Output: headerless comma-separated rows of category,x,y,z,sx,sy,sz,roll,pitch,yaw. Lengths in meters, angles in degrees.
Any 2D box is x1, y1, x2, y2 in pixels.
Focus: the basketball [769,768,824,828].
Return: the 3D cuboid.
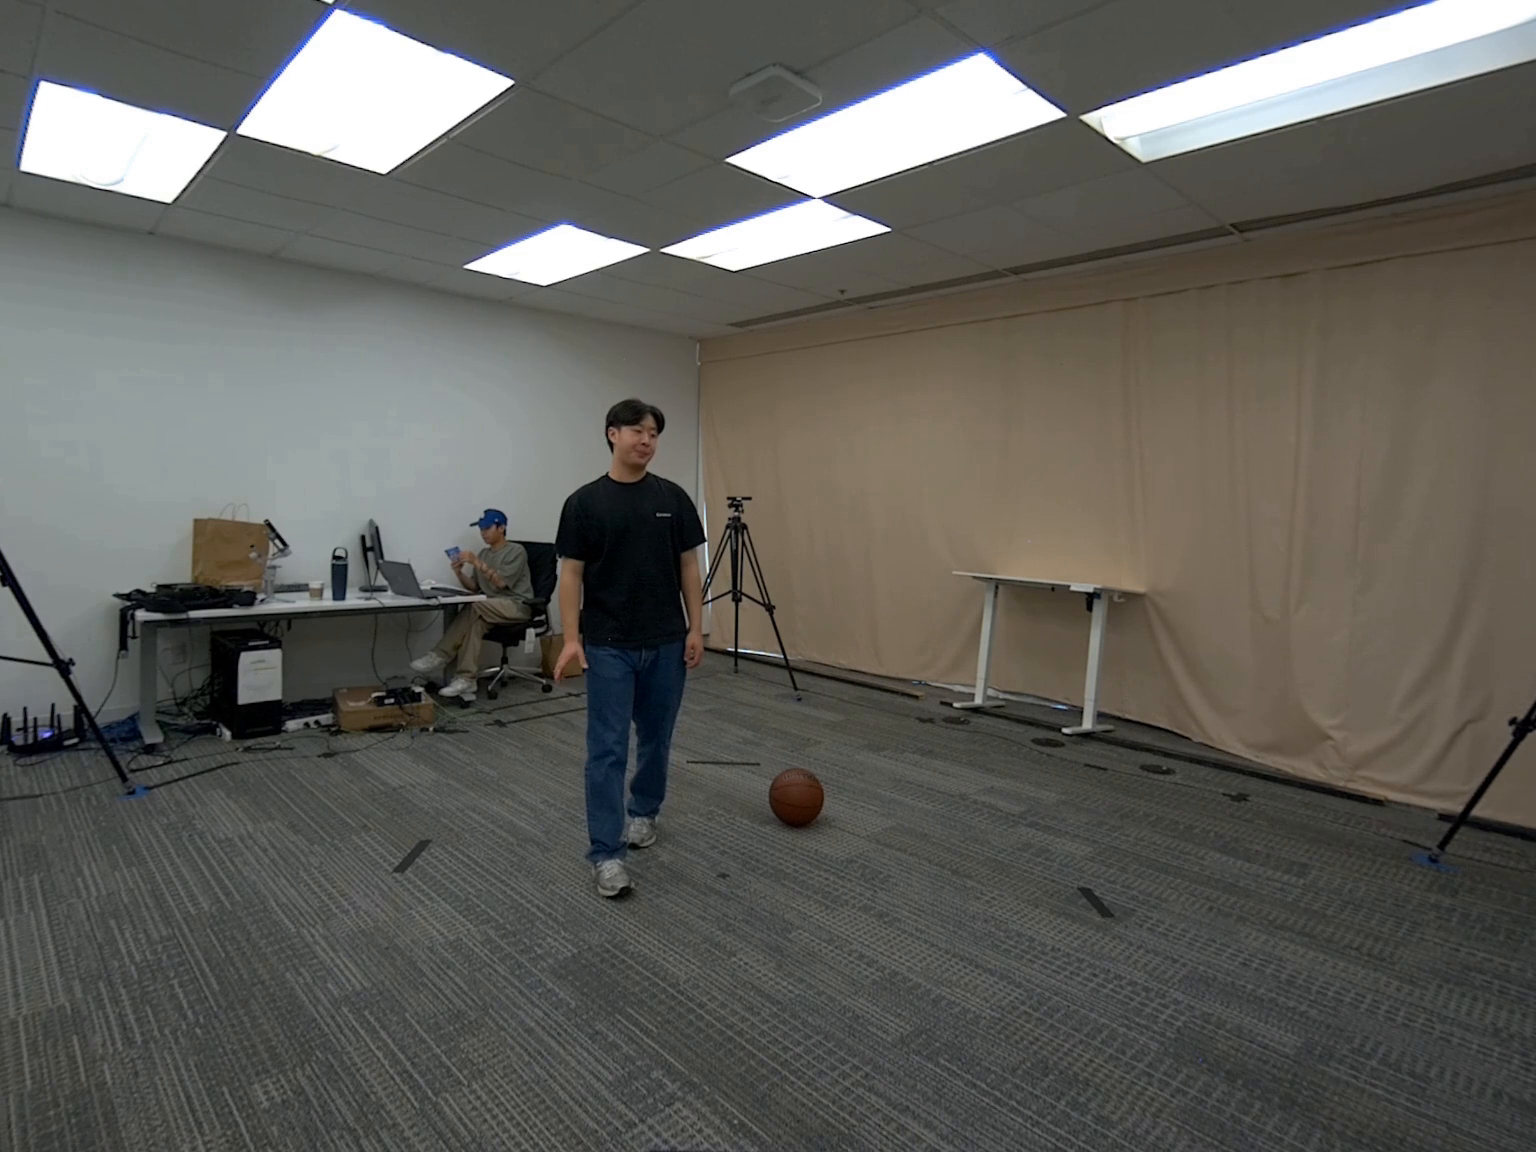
basketball,0.118,0.945,3.622,0.236,0.235,0.237,1,4,-1
